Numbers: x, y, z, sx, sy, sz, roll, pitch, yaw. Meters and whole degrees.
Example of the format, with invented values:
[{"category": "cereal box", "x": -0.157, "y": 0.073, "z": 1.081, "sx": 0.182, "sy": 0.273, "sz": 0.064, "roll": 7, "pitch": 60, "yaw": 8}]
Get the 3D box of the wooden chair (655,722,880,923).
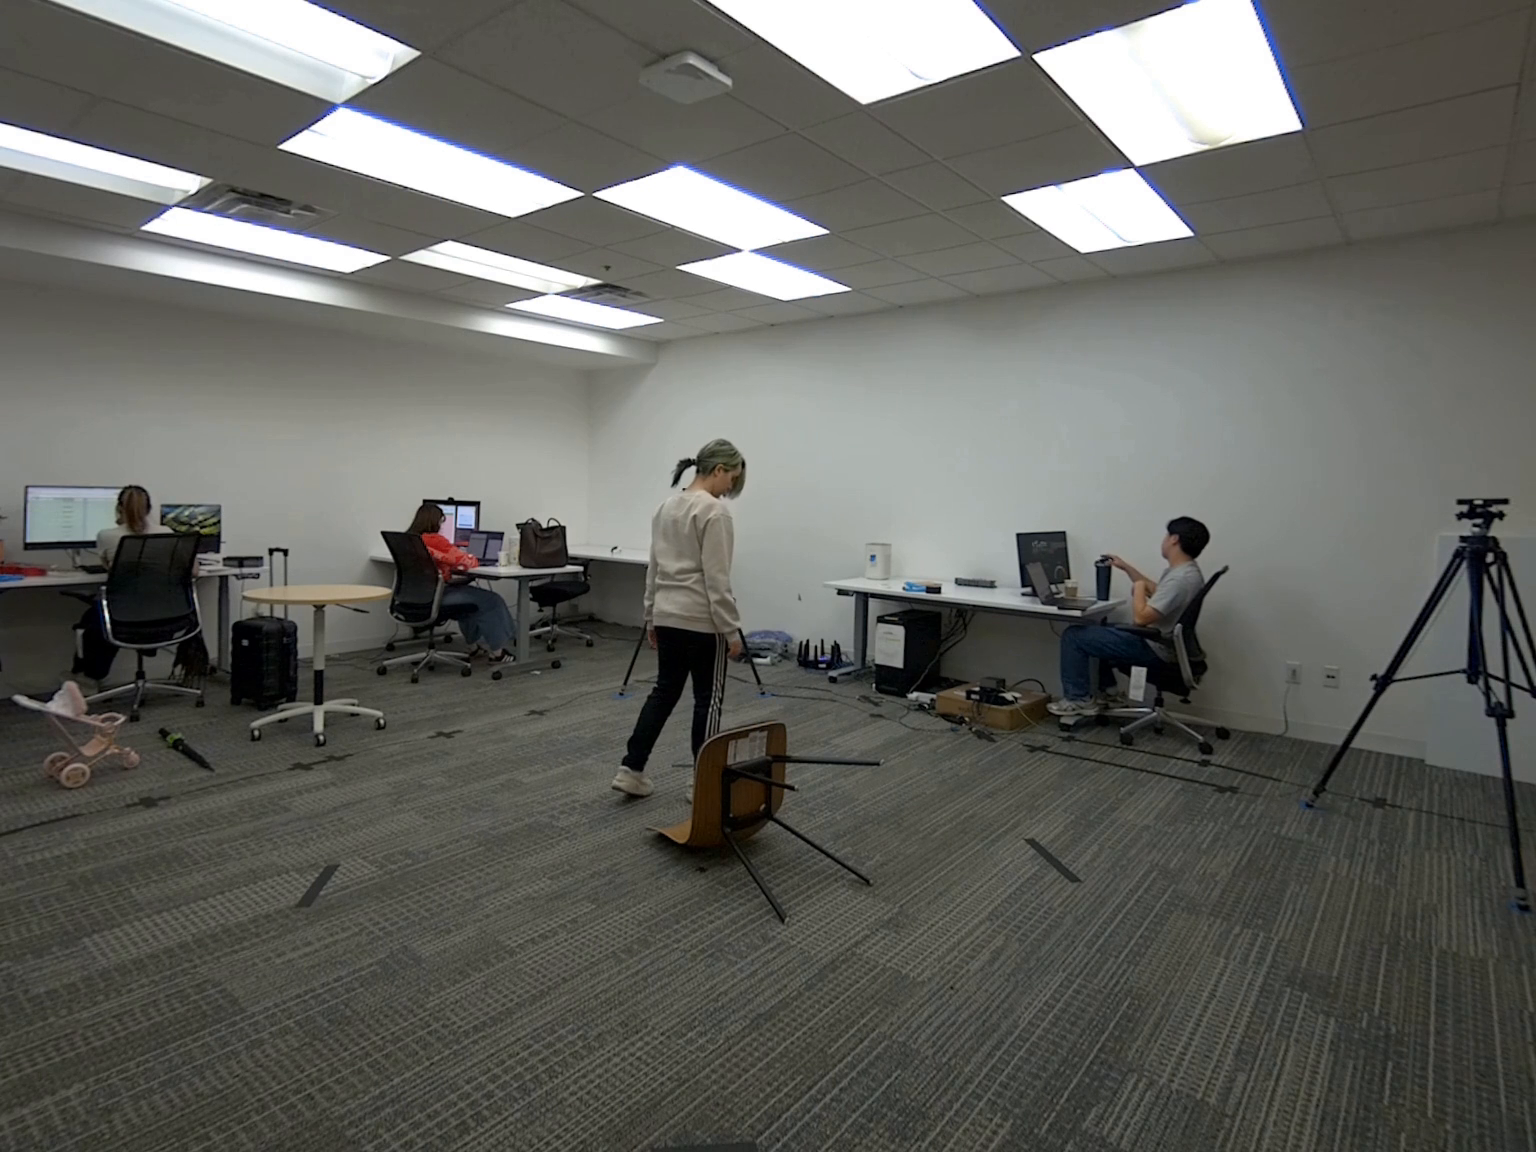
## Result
[{"category": "wooden chair", "x": -0.076, "y": 0.806, "z": 3.167, "sx": 0.463, "sy": 0.522, "sz": 0.907, "roll": -2, "pitch": 4, "yaw": -43}]
